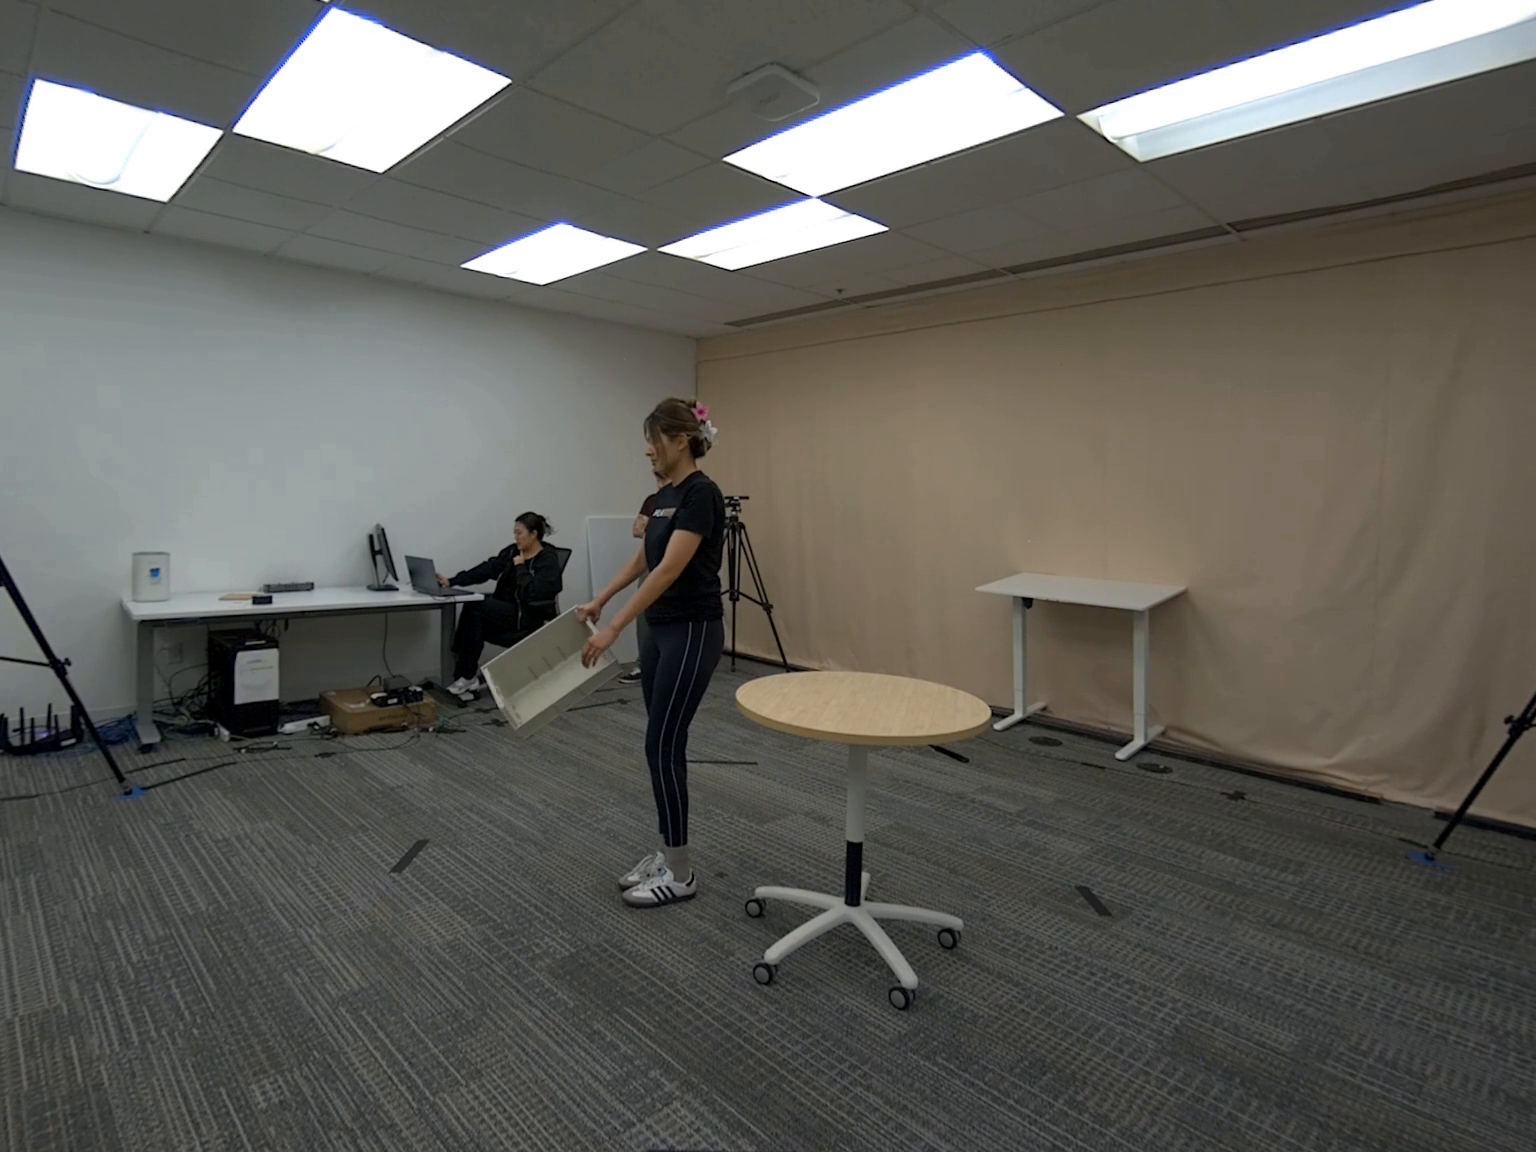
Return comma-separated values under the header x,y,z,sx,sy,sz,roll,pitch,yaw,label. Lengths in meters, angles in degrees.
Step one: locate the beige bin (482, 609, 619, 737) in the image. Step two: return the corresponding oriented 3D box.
x,y,z,sx,sy,sz,roll,pitch,yaw,label
-0.778,0.349,3.068,0.421,0.184,0.388,-34,29,-14,beige bin
